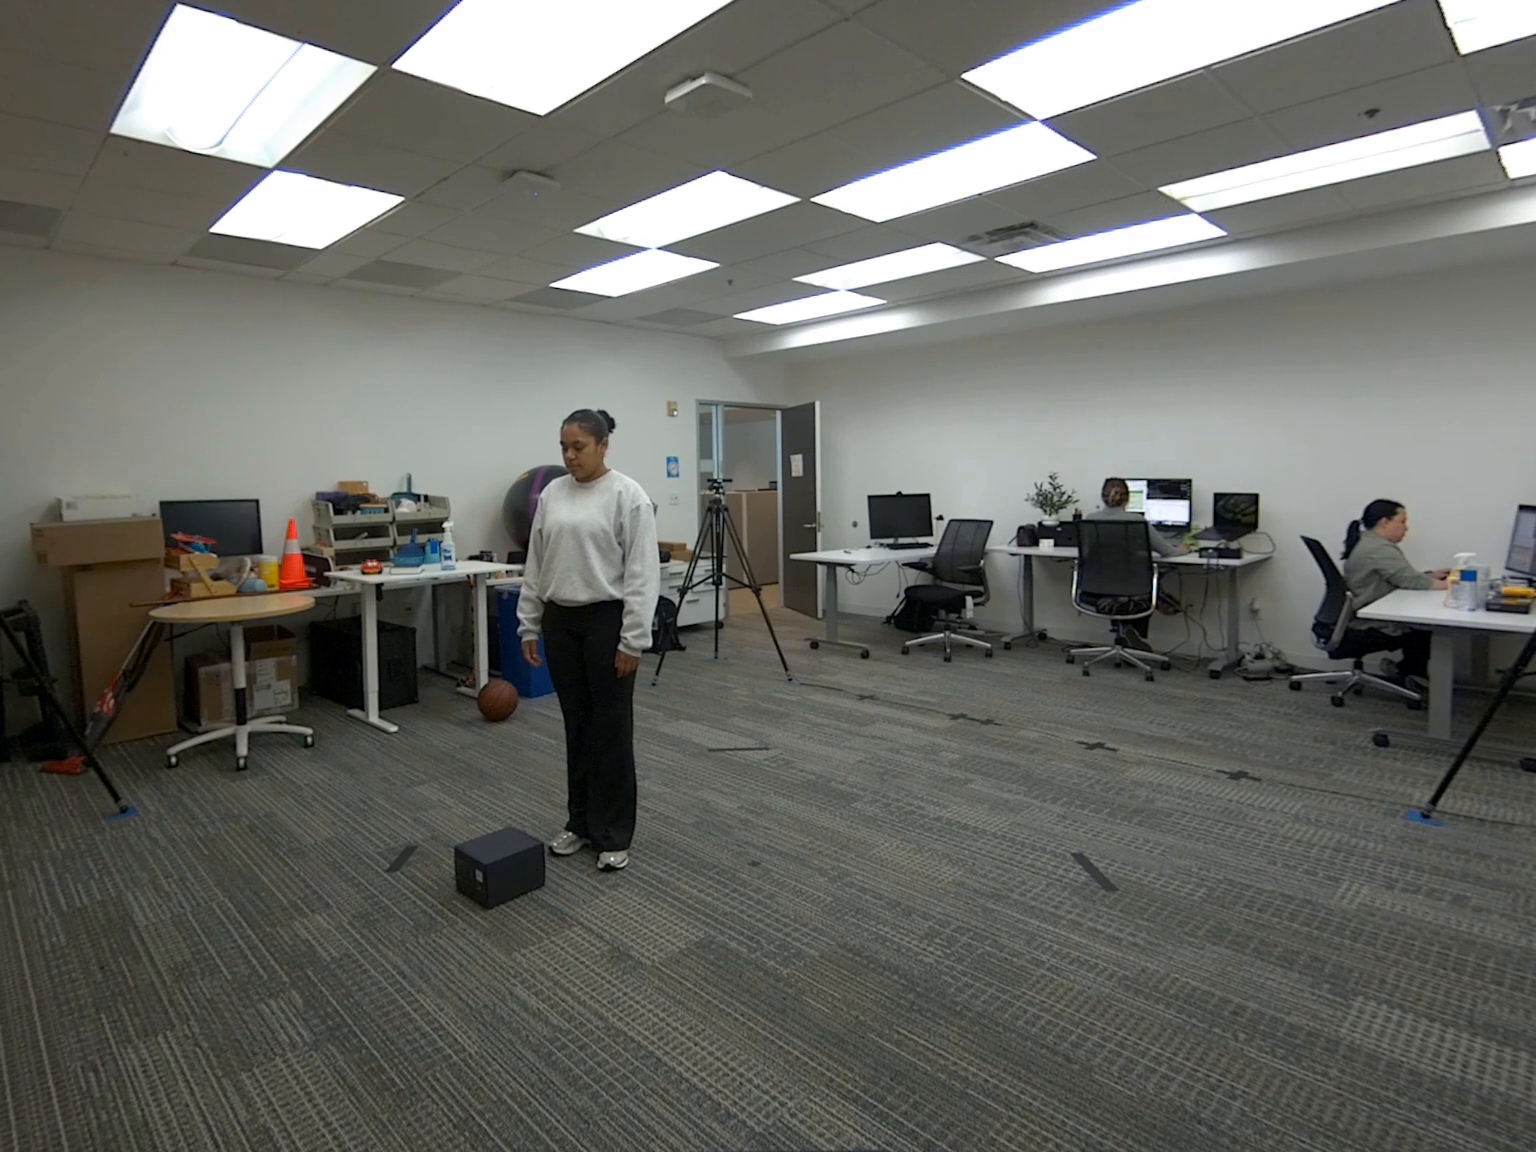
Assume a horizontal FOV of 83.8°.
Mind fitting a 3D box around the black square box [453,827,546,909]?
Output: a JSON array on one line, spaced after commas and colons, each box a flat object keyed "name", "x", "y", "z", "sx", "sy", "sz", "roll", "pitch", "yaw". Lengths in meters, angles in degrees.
[{"name": "black square box", "x": -0.921, "y": 0.997, "z": 2.955, "sx": 0.223, "sy": 0.155, "sz": 0.222, "roll": 3, "pitch": 7, "yaw": 42}]
